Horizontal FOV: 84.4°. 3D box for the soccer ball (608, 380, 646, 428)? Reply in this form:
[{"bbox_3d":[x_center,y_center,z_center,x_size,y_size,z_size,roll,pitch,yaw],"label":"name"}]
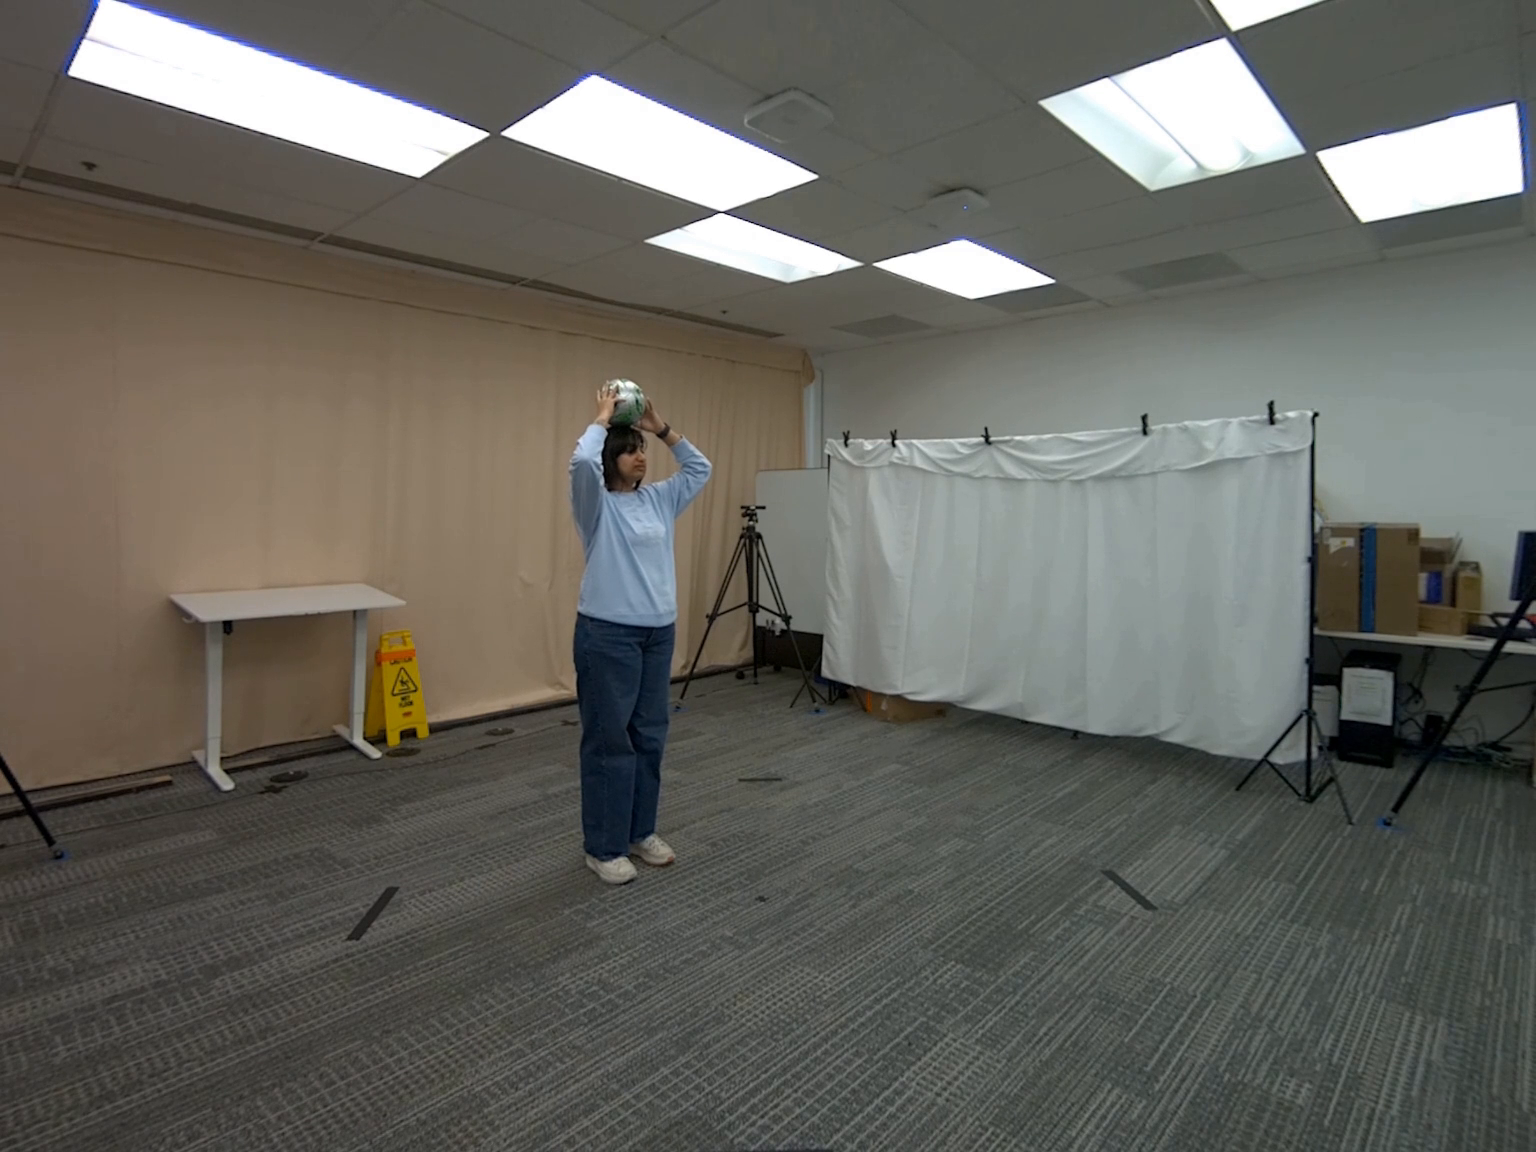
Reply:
[{"bbox_3d":[-0.561,-0.661,3.232,0.187,0.187,0.188,0,4,-2],"label":"soccer ball"}]
